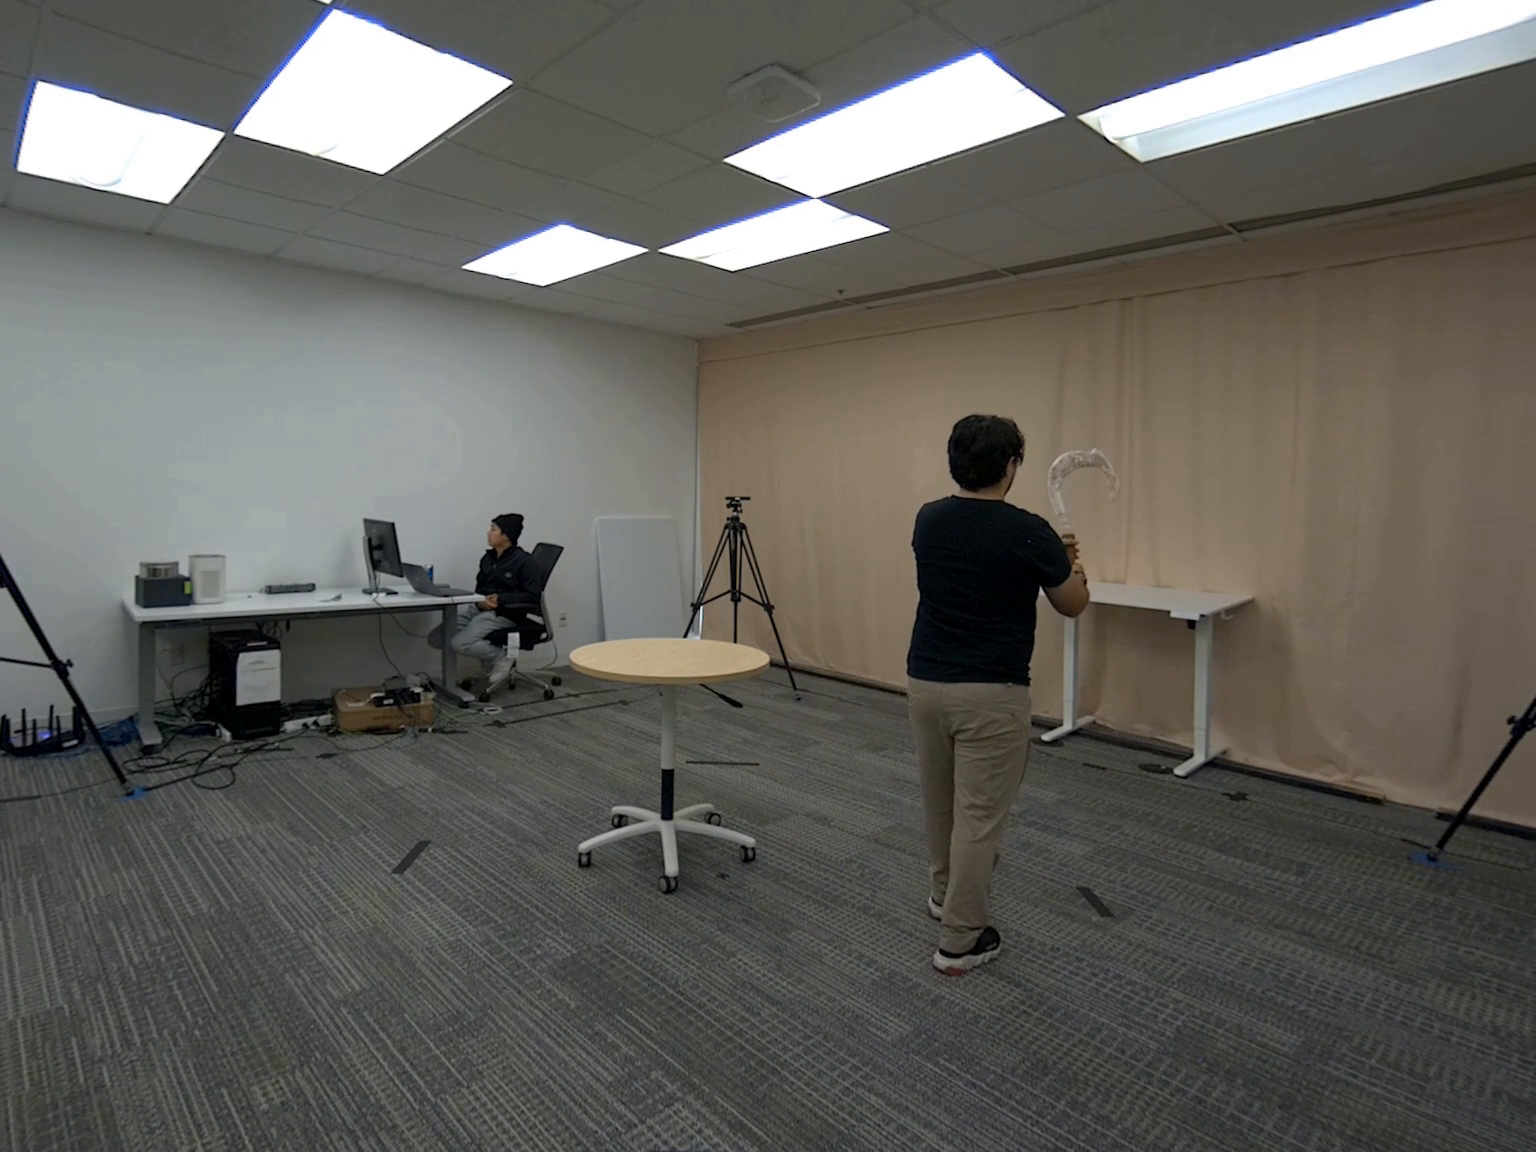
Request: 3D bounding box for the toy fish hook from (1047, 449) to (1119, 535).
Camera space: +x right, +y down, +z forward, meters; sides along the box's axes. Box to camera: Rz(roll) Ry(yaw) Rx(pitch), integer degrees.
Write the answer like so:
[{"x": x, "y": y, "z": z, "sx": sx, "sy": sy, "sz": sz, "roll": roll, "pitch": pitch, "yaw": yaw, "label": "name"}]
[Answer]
[{"x": 1.059, "y": -0.189, "z": 2.827, "sx": 0.229, "sy": 0.511, "sz": 0.047, "roll": -3, "pitch": -16, "yaw": 31, "label": "toy fish hook"}]
